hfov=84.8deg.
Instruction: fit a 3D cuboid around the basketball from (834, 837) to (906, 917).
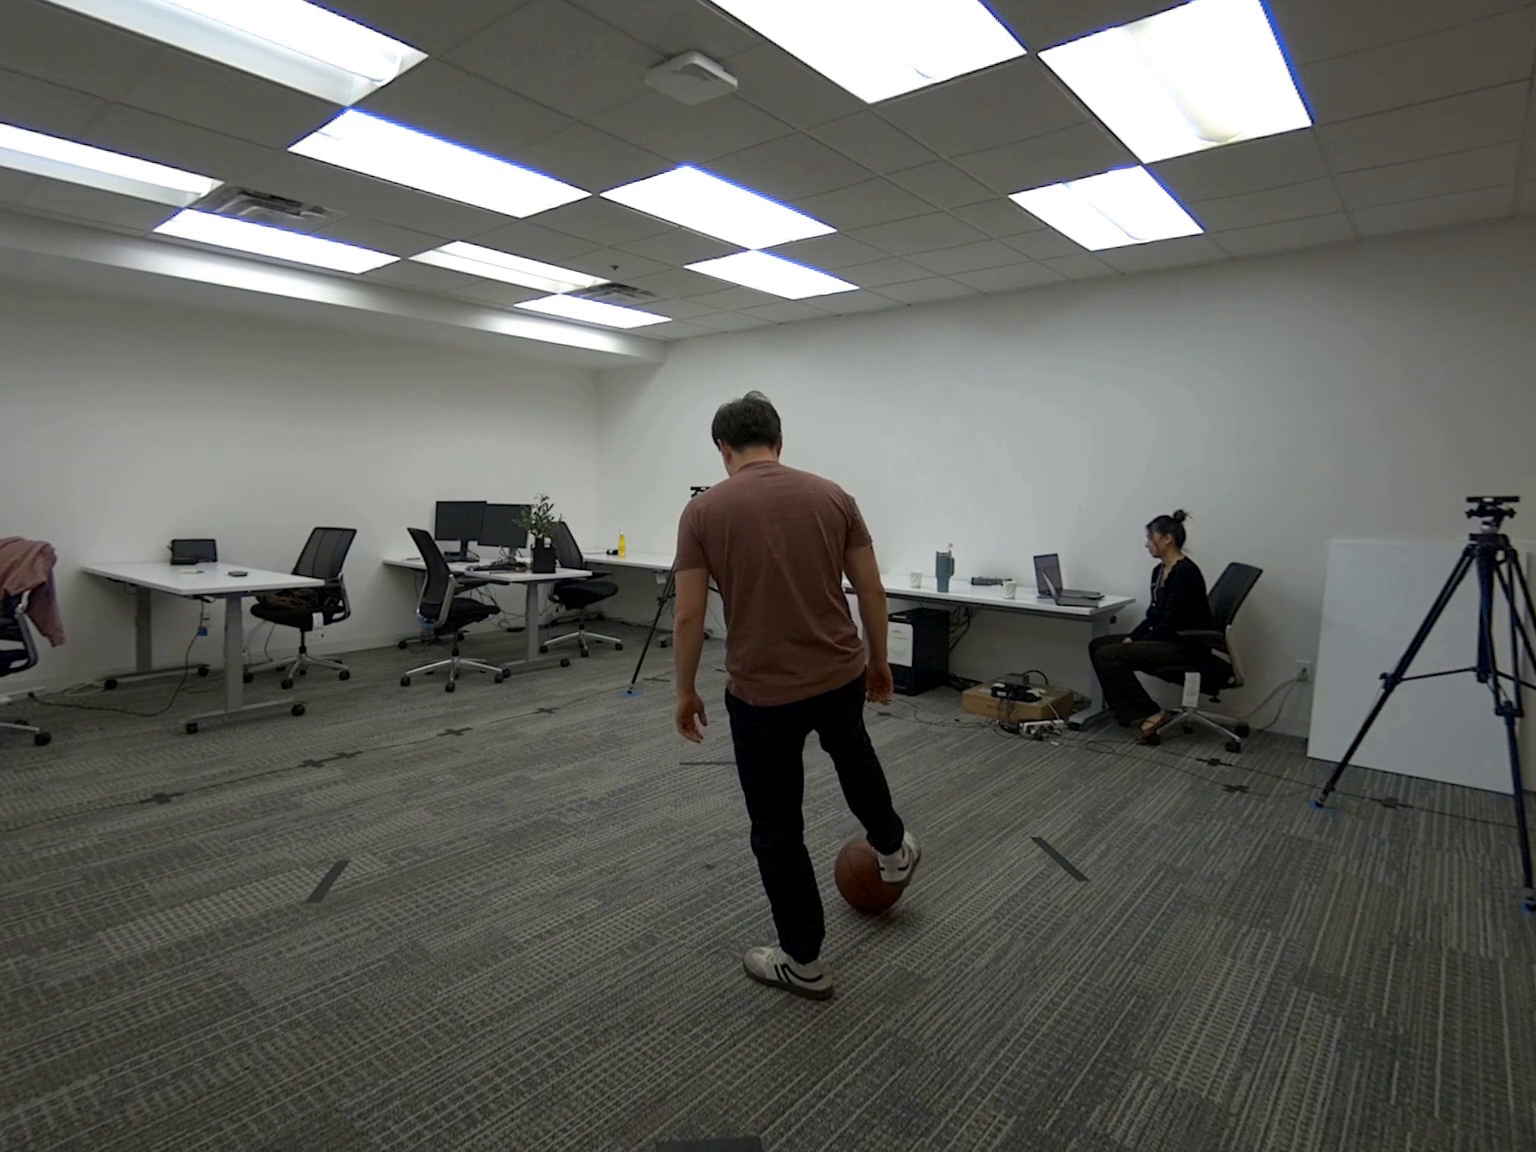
[{"bbox_3d":[0.326,0.986,2.831,0.235,0.235,0.237,1,4,-2],"label":"basketball"}]
